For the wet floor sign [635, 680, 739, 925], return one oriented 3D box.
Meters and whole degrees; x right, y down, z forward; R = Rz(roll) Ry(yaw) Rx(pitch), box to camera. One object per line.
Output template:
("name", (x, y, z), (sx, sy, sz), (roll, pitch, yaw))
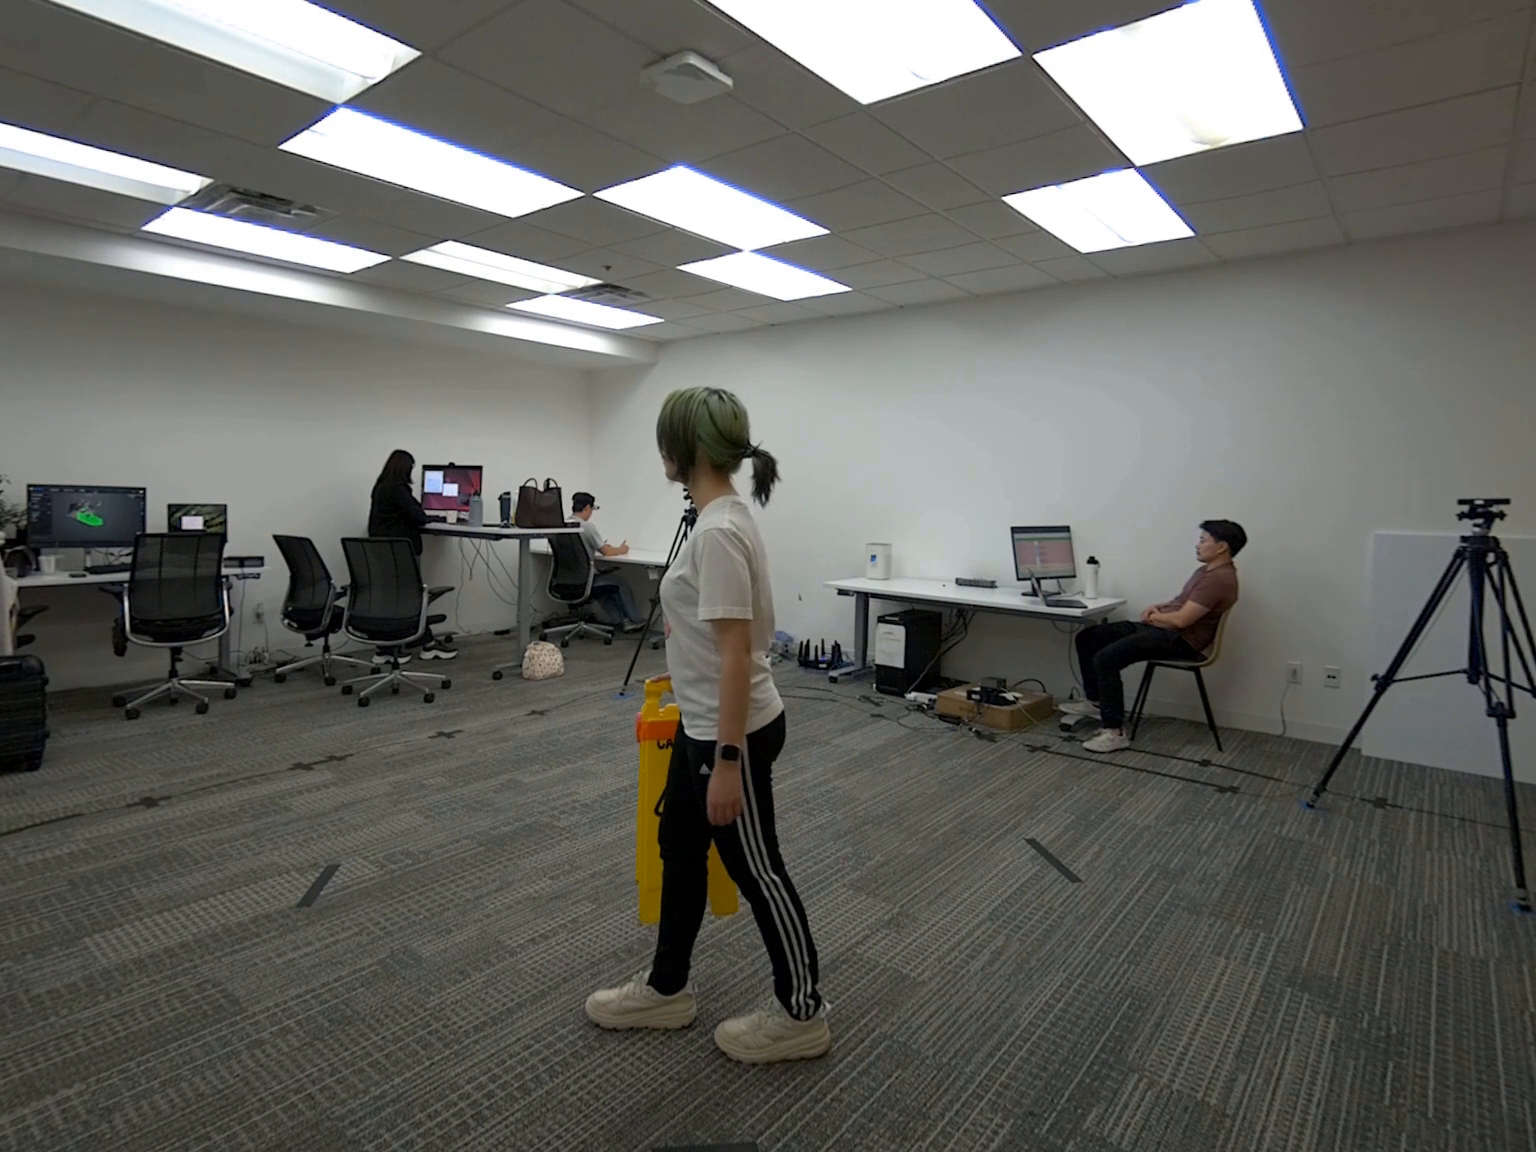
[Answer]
("wet floor sign", (-0.263, 0.613, 2.455), (0.279, 0.644, 0.293), (-1, 3, -10))
